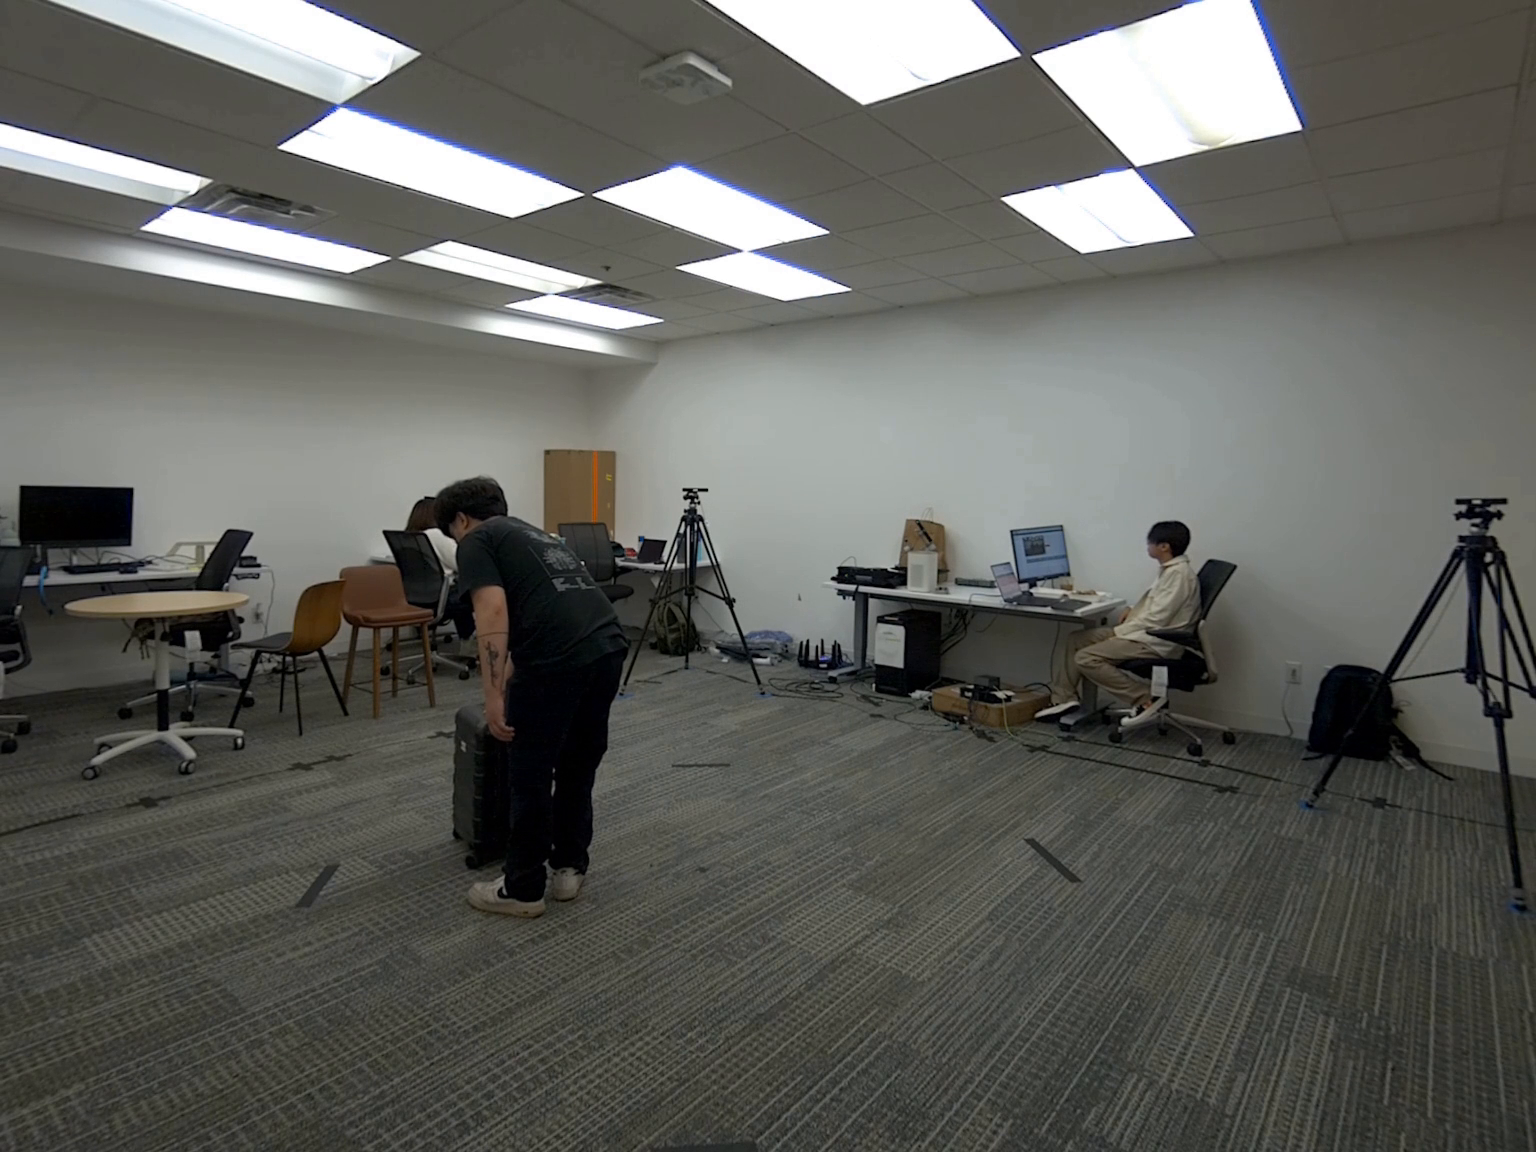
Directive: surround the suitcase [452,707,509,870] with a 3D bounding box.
[{"bbox_3d":[-1.056,0.768,3.246,0.241,0.548,0.387,0,4,-33],"label":"suitcase"}]
